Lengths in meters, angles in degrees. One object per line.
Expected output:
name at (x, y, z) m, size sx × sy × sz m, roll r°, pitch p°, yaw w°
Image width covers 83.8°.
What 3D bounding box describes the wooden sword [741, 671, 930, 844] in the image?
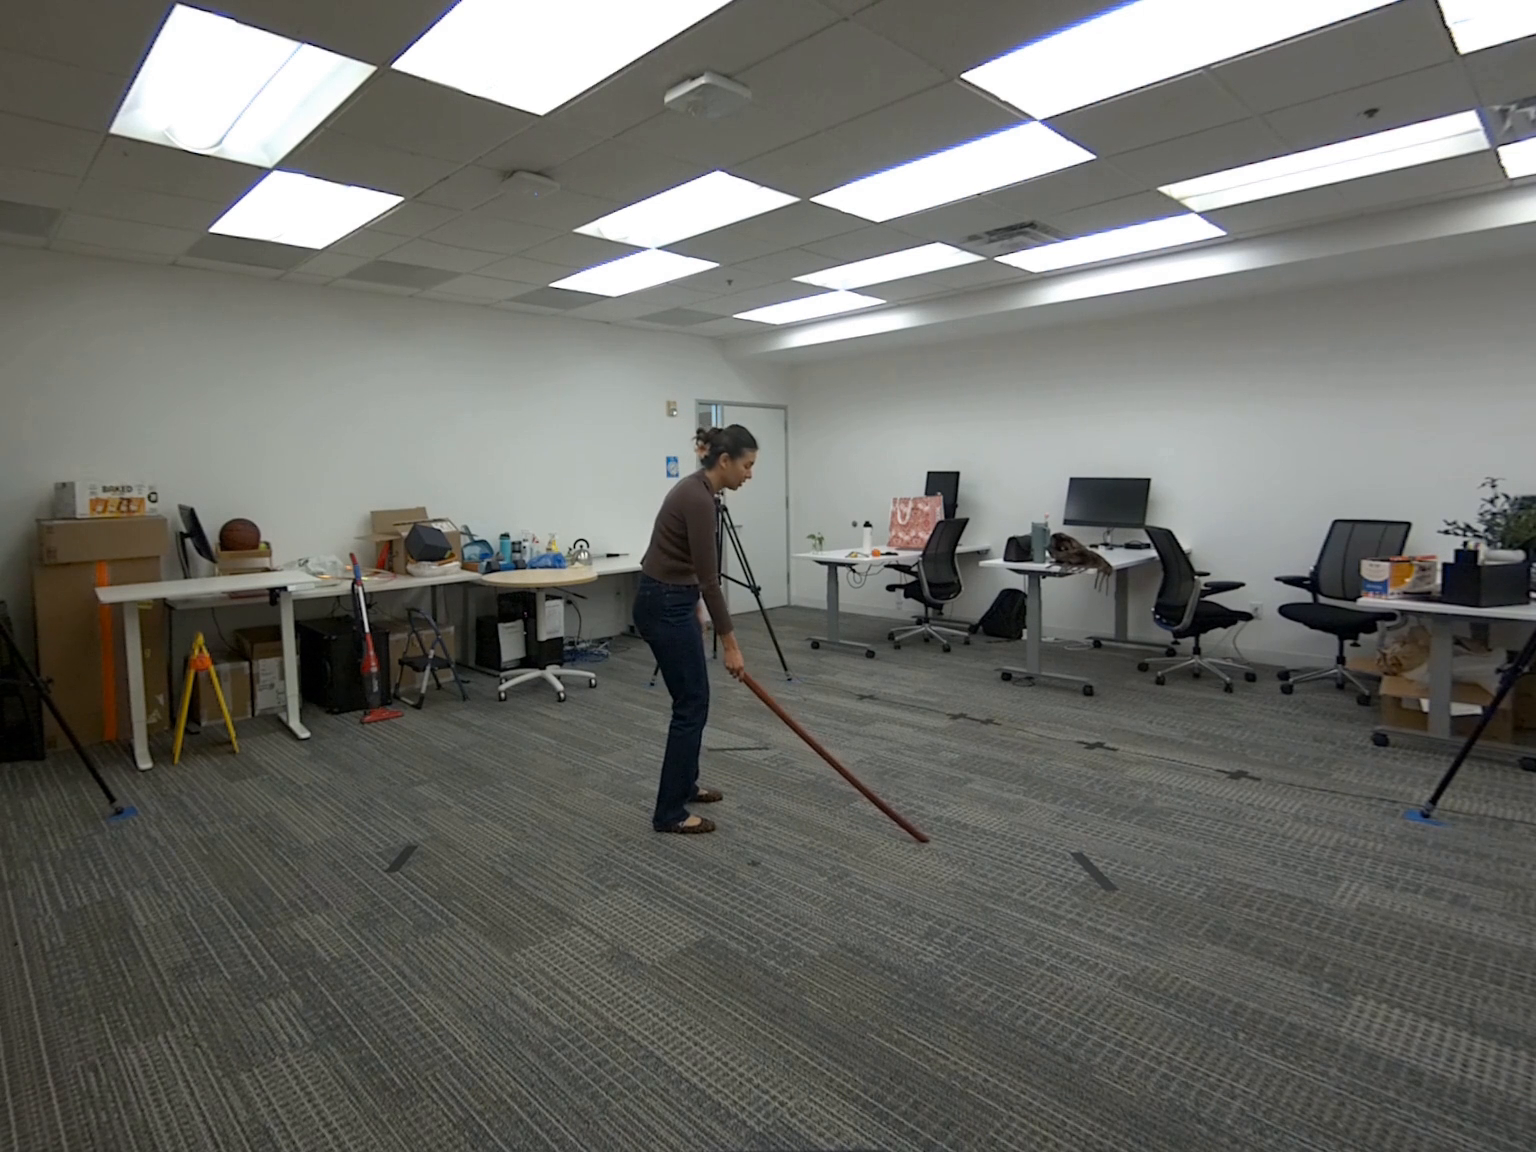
wooden sword at (0.219, 0.675, 3.307) m, size 0.051 × 1.029 × 0.024 m, roll -45°, pitch -5°, yaw -45°
